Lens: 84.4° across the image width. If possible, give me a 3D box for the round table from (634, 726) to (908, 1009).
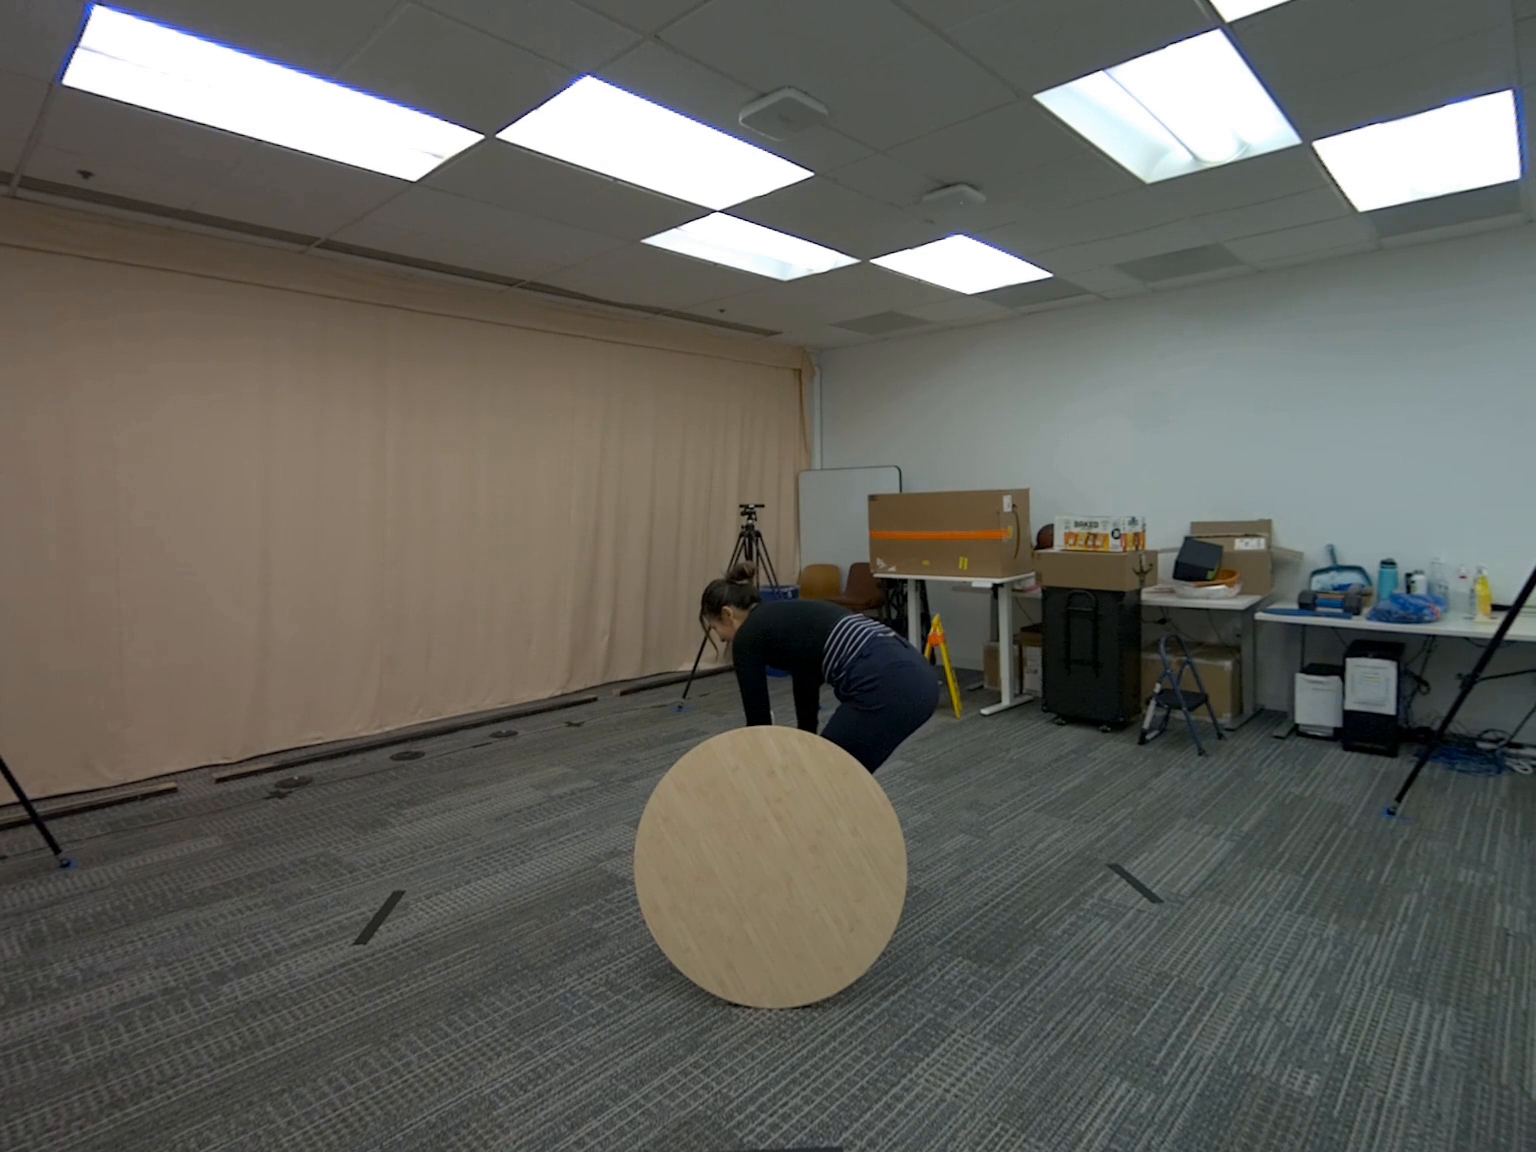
[{"bbox_3d":[0.010,0.828,2.749,0.767,0.766,0.789,-1,-4,3],"label":"round table"}]
